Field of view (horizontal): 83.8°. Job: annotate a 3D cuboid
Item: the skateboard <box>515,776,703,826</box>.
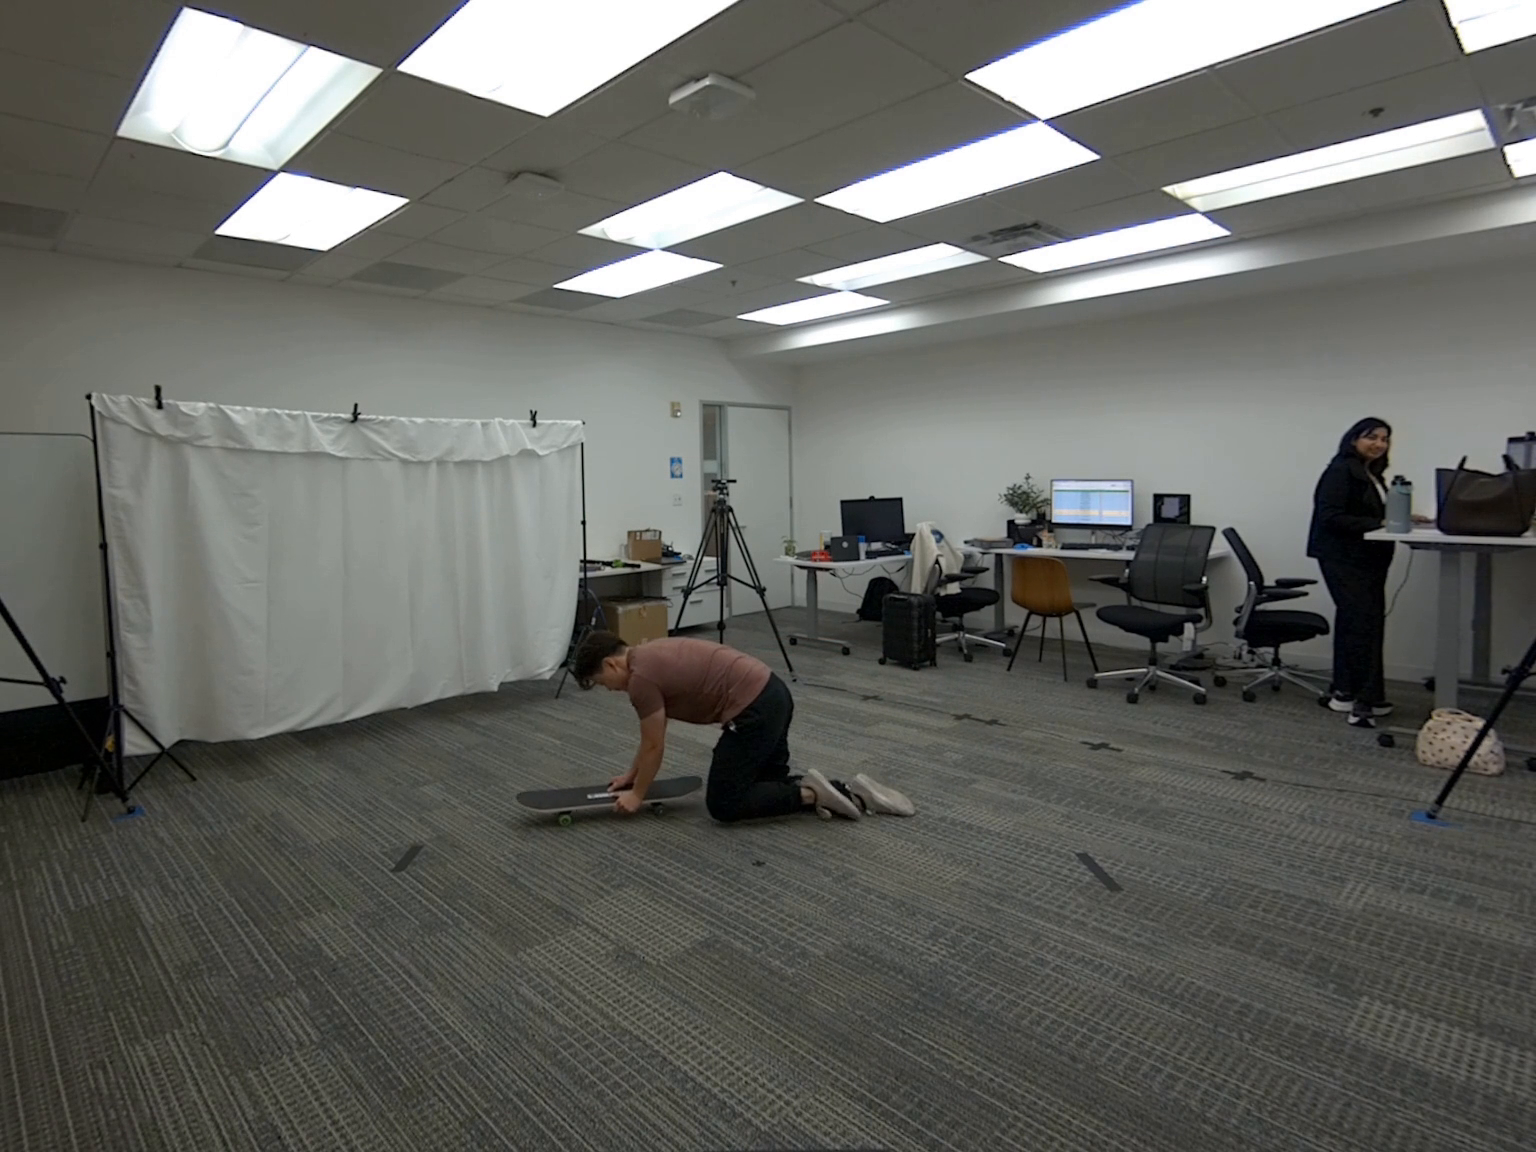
[{"bbox_3d":[-0.657,0.951,3.605,0.777,0.109,0.197,-2,10,-12],"label":"skateboard"}]
